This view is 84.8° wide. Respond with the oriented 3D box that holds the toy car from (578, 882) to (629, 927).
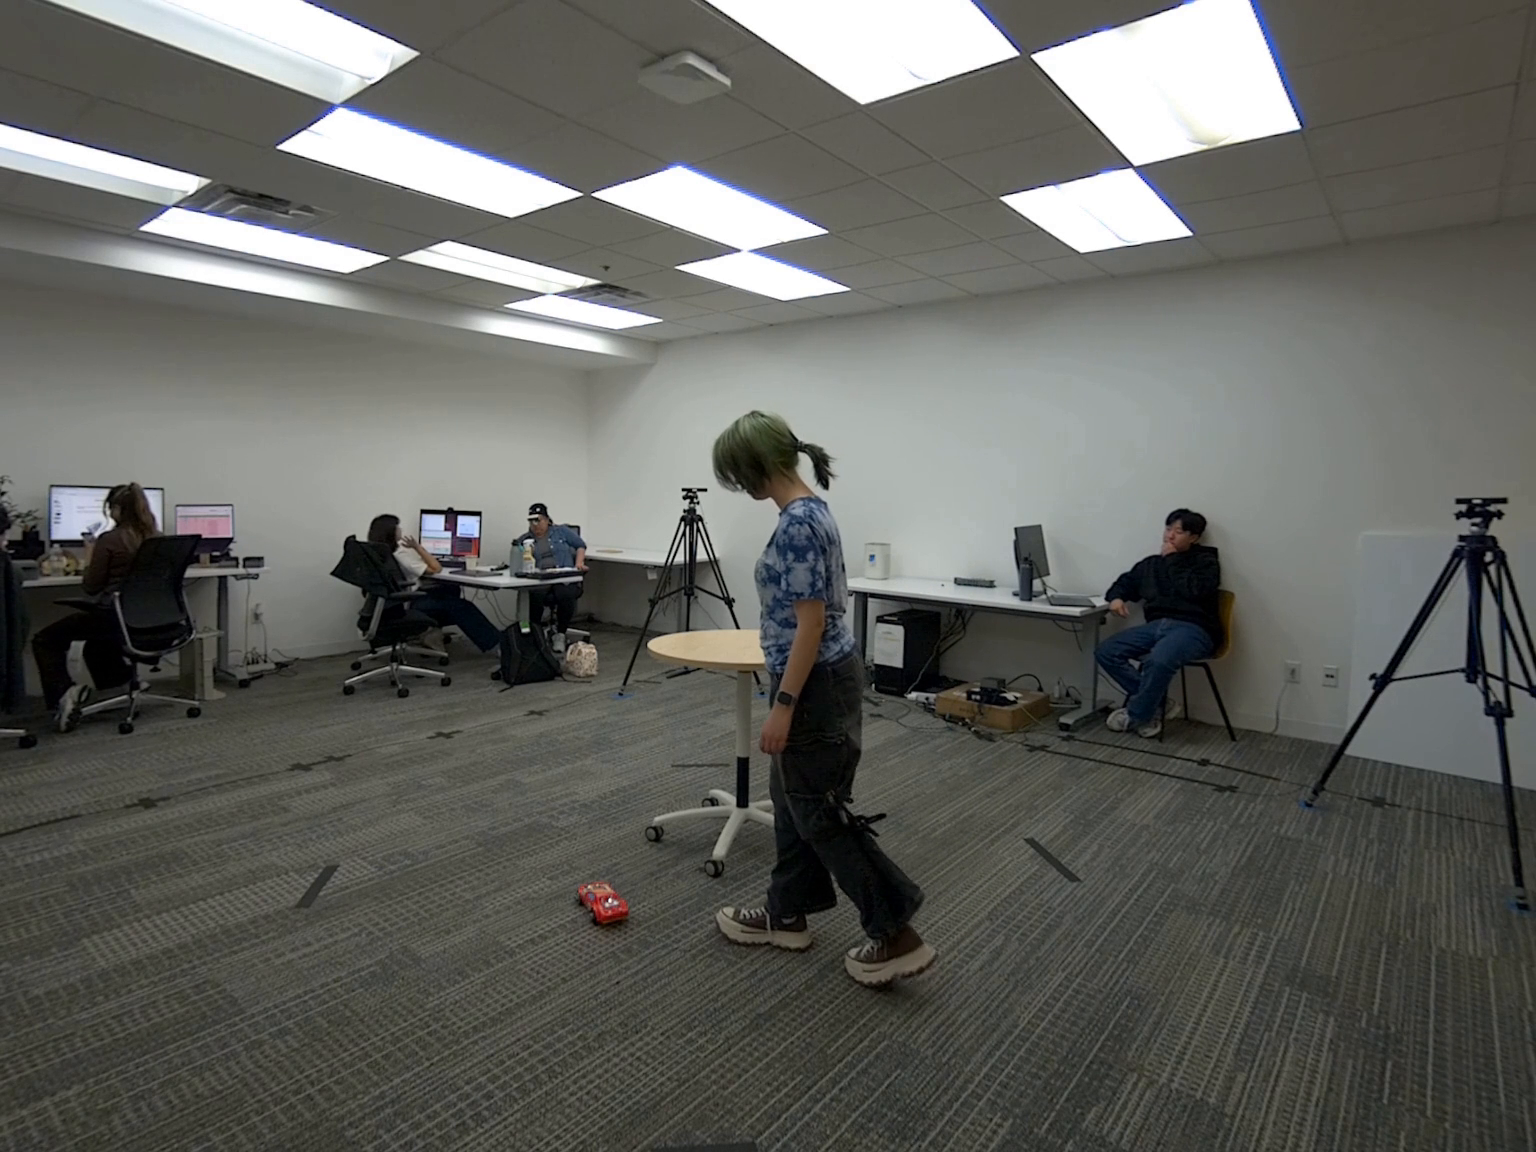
[{"bbox_3d":[-0.545,1.063,2.766,0.127,0.084,0.260,-3,-4,-31],"label":"toy car"}]
